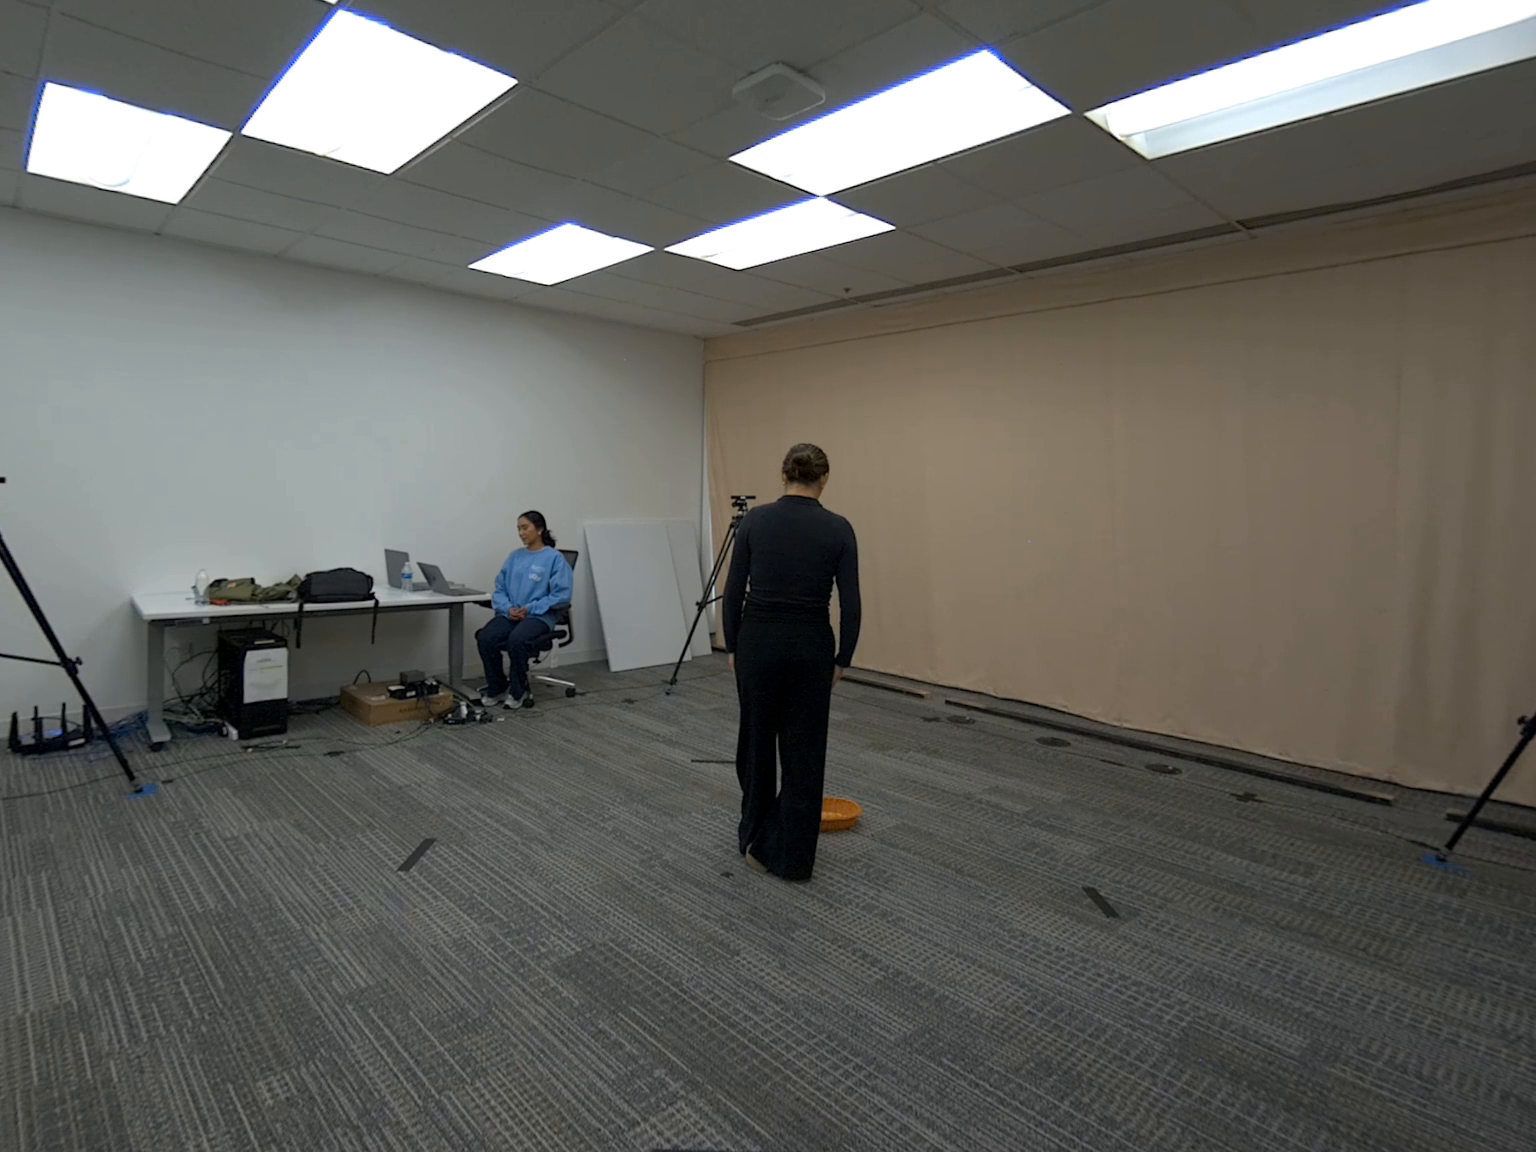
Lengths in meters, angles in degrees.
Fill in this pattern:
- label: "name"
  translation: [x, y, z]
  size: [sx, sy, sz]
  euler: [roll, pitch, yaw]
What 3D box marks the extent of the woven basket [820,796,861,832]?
- label: "woven basket"
  translation: [0.219, 1.027, 3.629]
  size: [0.348, 0.073, 0.255]
  euler: [1, 7, -8]
